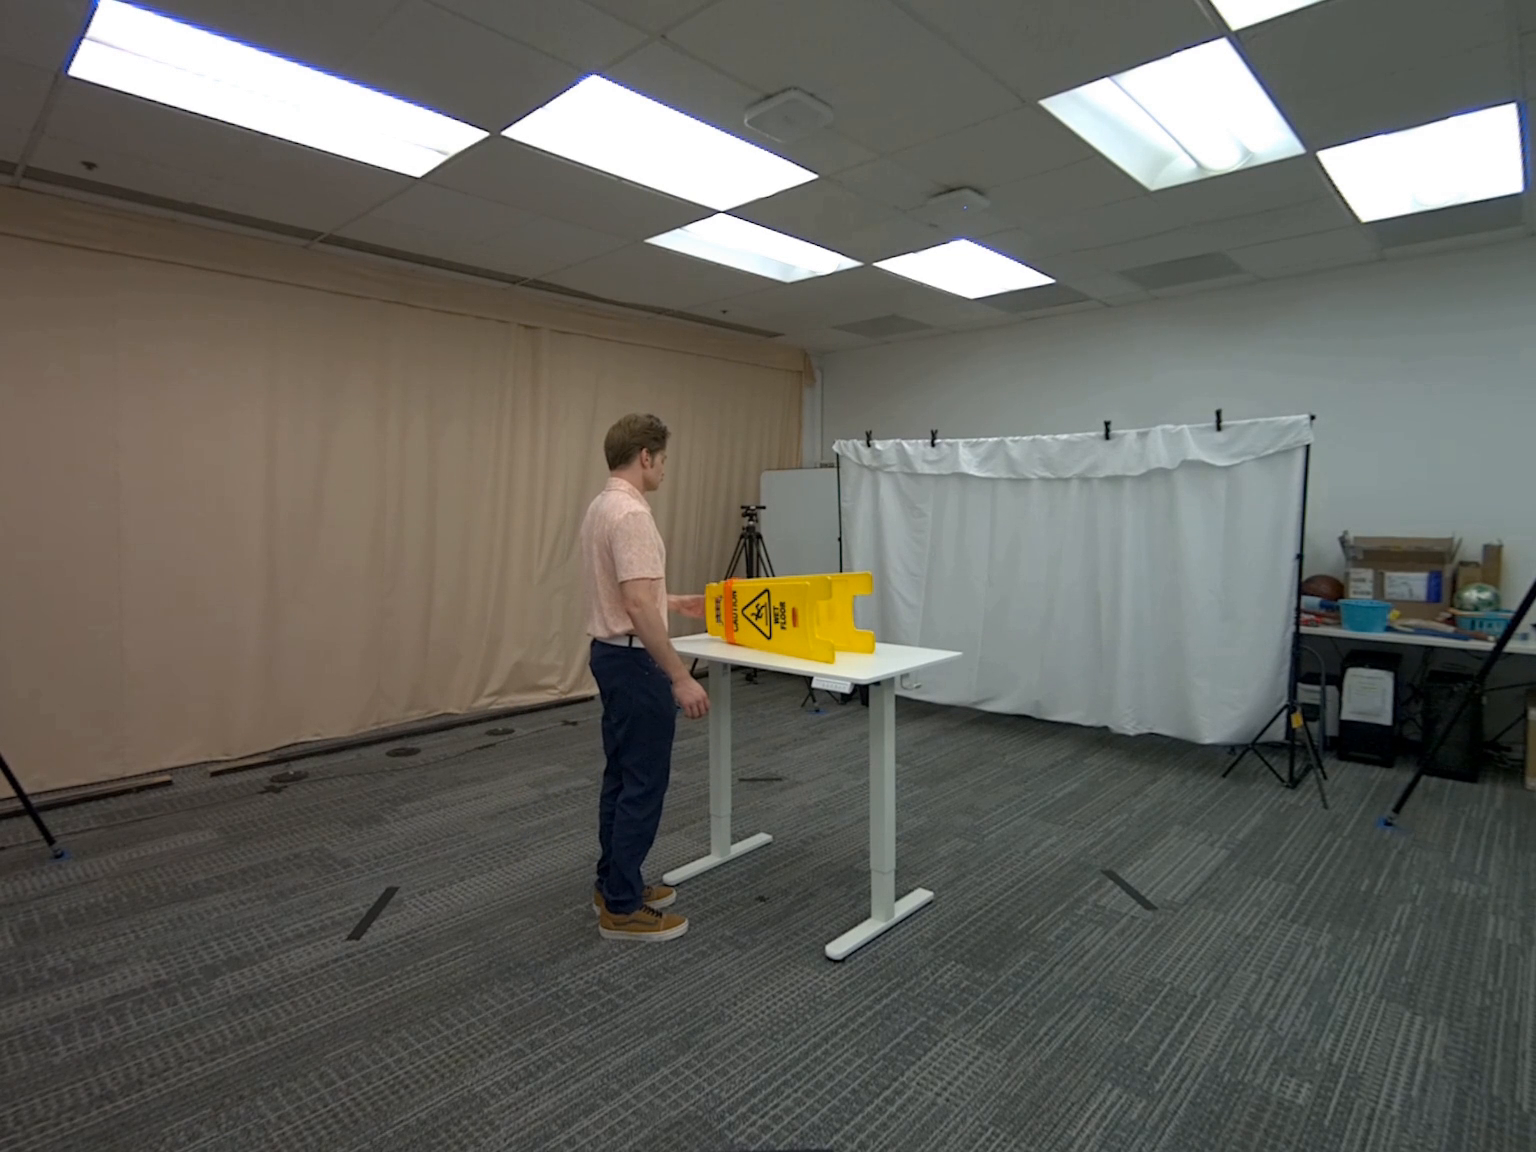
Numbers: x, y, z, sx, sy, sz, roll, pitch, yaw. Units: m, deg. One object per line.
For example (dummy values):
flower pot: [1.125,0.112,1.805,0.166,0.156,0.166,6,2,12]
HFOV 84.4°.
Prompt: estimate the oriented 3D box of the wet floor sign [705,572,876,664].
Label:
wet floor sign: [0.032,0.135,2.987,0.667,0.282,0.281,1,4,40]
